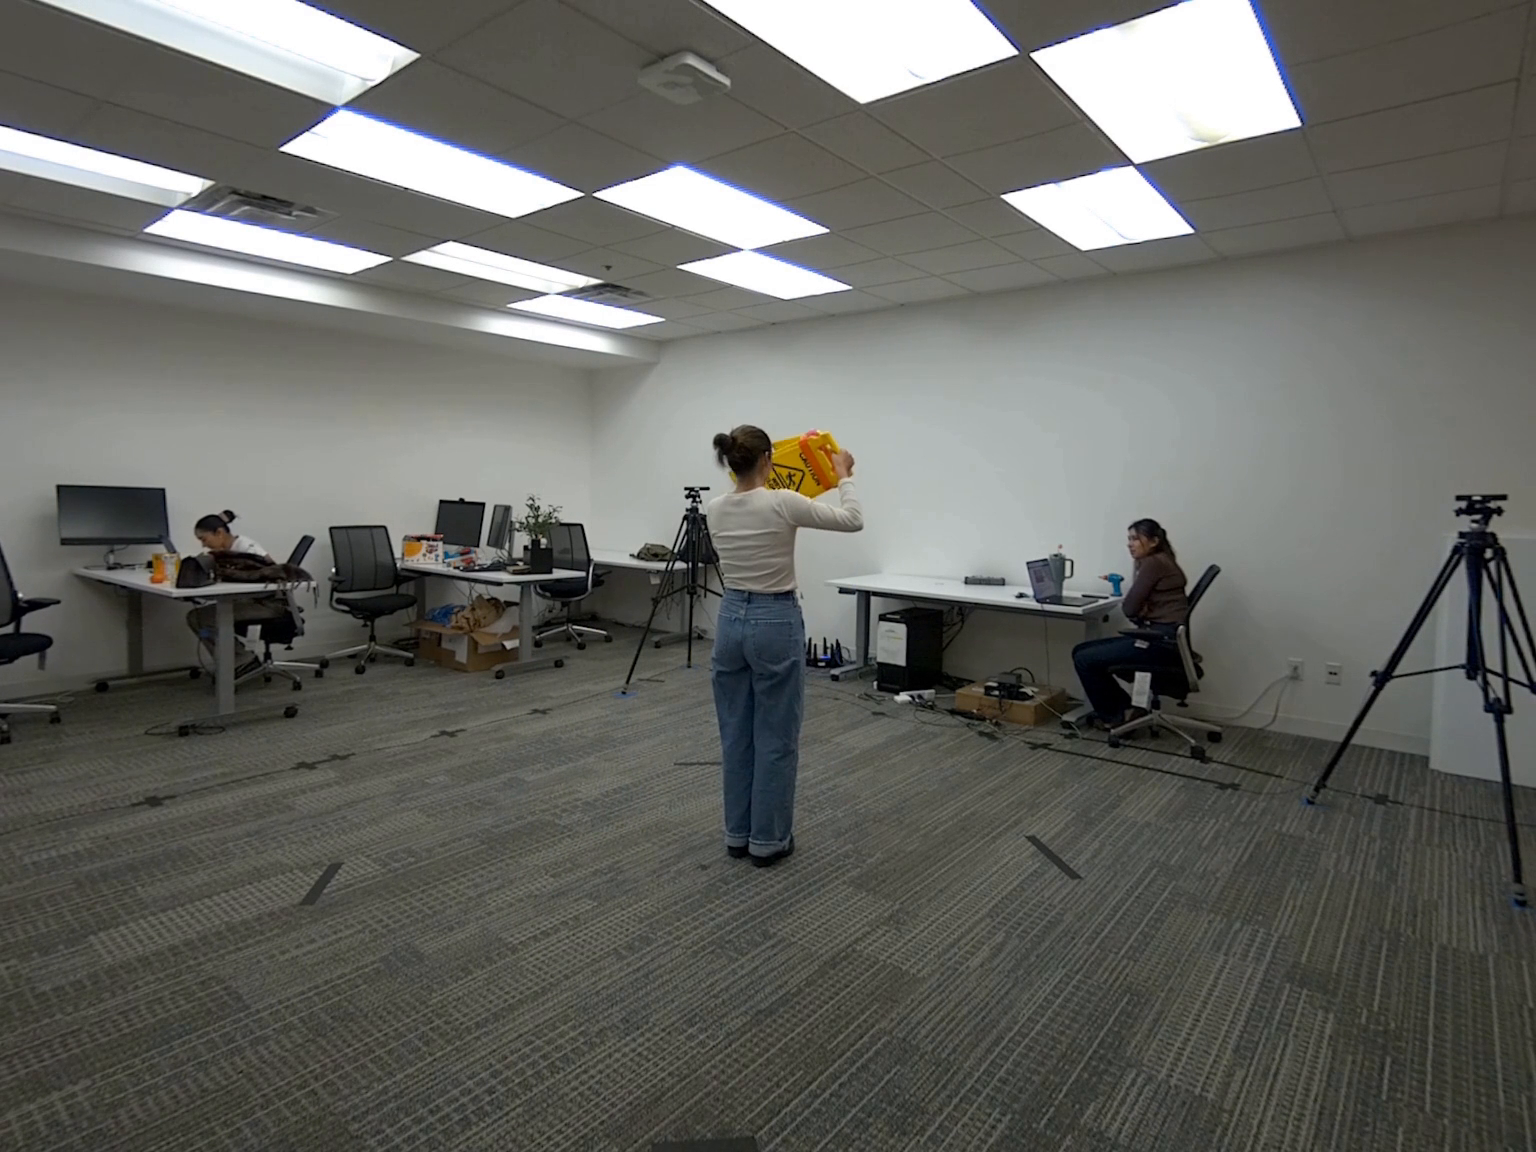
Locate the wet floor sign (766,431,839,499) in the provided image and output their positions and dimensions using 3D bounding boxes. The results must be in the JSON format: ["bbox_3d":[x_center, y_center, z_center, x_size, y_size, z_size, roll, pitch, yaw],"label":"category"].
[{"bbox_3d":[0.135,-0.447,3.540,0.287,0.279,0.658,-34,10,-24],"label":"wet floor sign"}]
